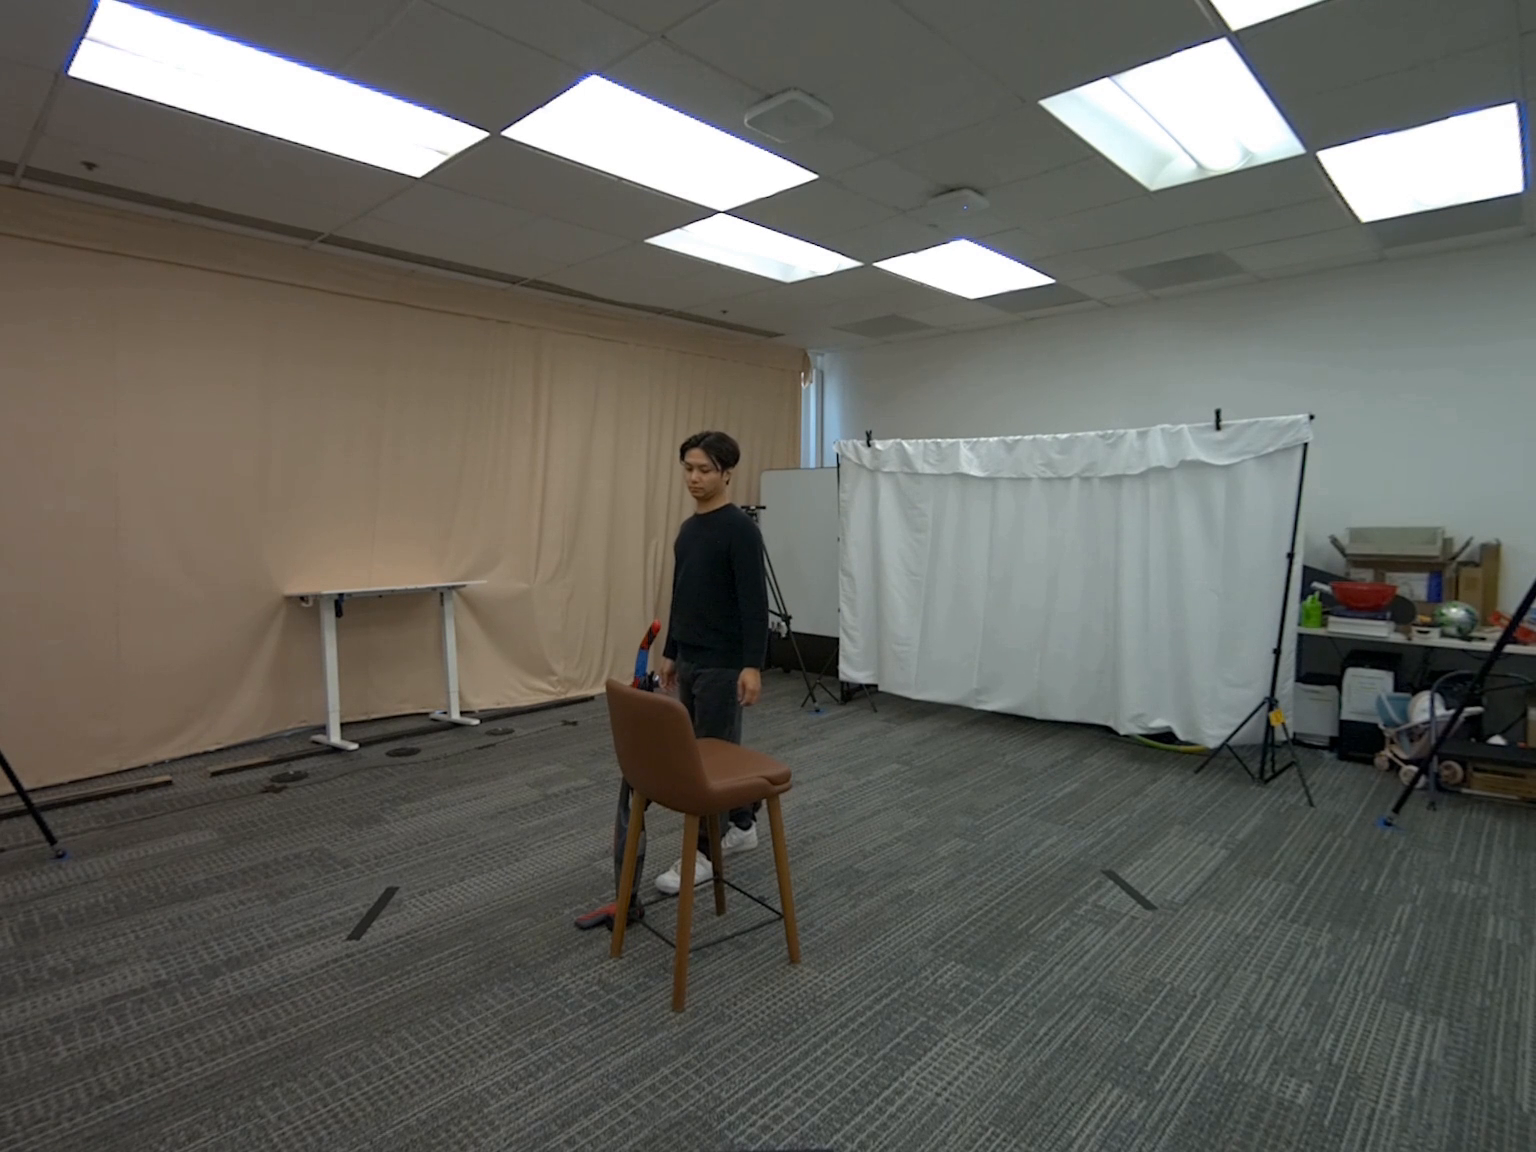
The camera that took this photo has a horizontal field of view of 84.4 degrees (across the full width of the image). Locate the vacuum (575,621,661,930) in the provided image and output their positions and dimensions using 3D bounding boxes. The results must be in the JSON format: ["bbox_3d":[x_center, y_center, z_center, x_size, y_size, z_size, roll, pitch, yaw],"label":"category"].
[{"bbox_3d":[-0.439,0.667,2.732,0.245,1.043,0.149,-3,16,-44],"label":"vacuum"}]
